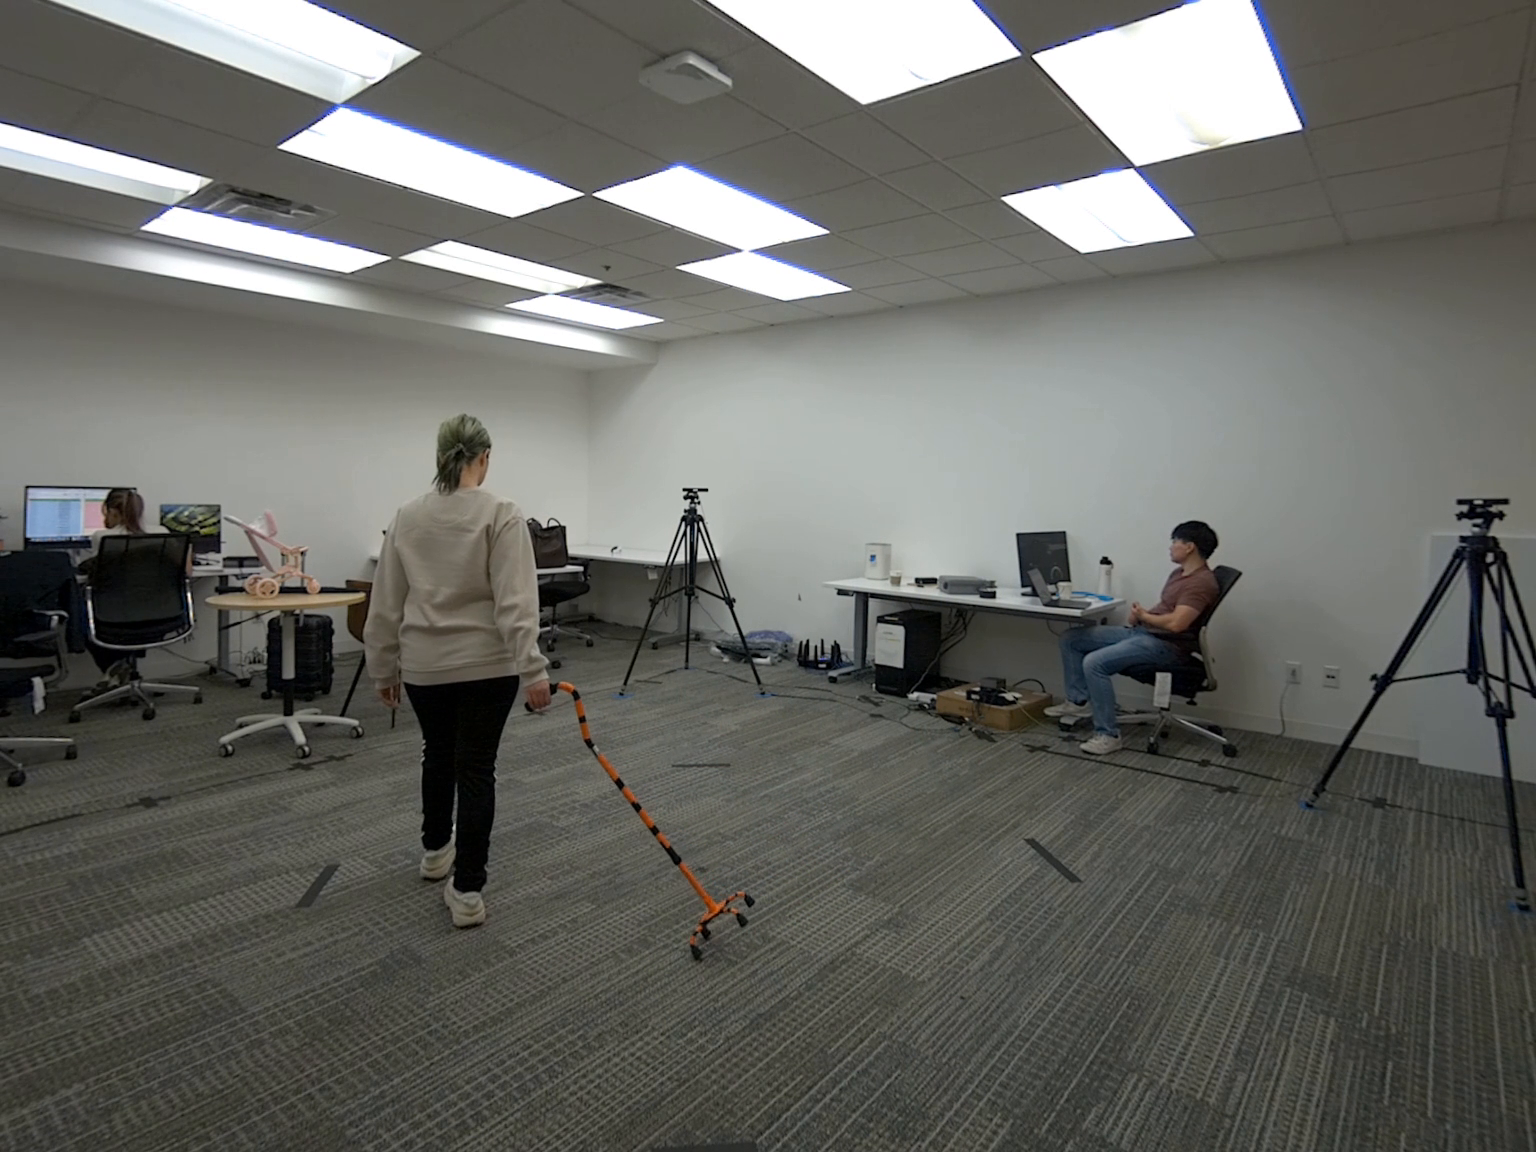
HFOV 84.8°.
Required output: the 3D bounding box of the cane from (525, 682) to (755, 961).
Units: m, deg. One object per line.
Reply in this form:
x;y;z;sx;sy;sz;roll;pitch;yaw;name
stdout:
-0.410;0.696;2.596;0.207;0.915;0.150;-38;-5;11;cane
